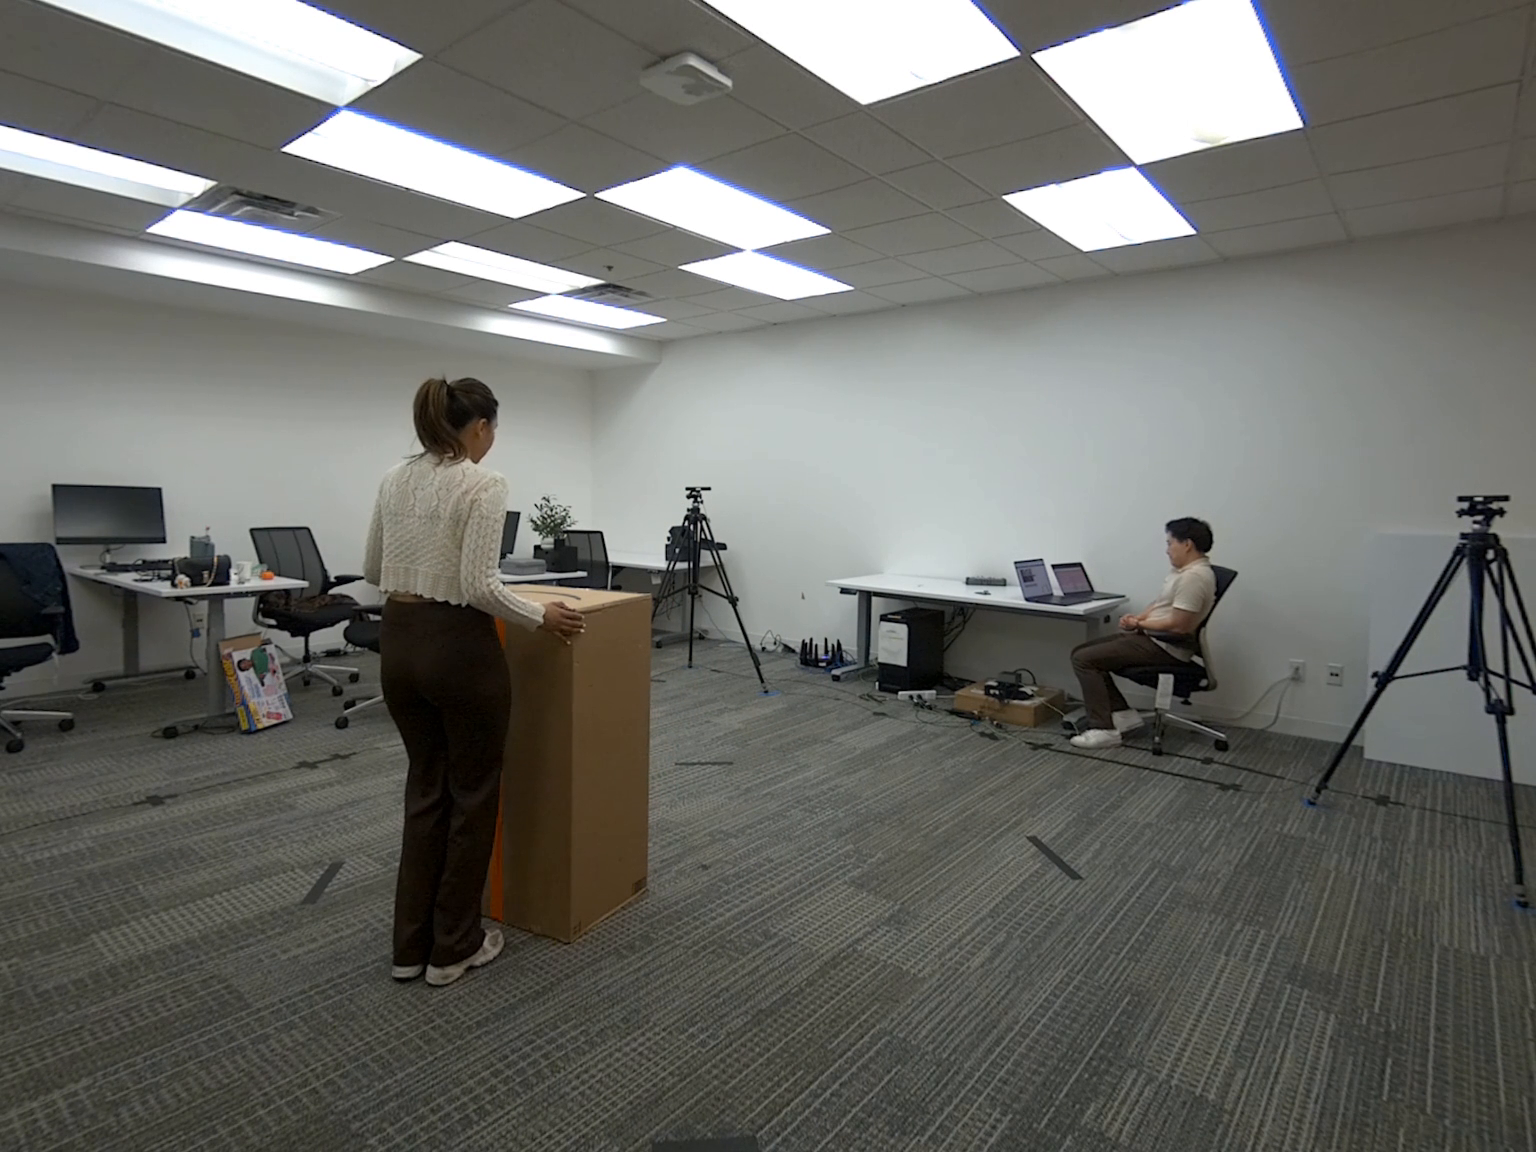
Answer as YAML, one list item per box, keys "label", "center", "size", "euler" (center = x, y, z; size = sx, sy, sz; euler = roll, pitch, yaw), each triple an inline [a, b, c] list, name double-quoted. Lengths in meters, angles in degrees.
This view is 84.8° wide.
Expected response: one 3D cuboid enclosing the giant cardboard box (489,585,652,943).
- label: "giant cardboard box"
  center: [-0.758, 0.571, 2.866]
  size: [0.594, 1.023, 0.415]
  euler: [3, 4, 29]
